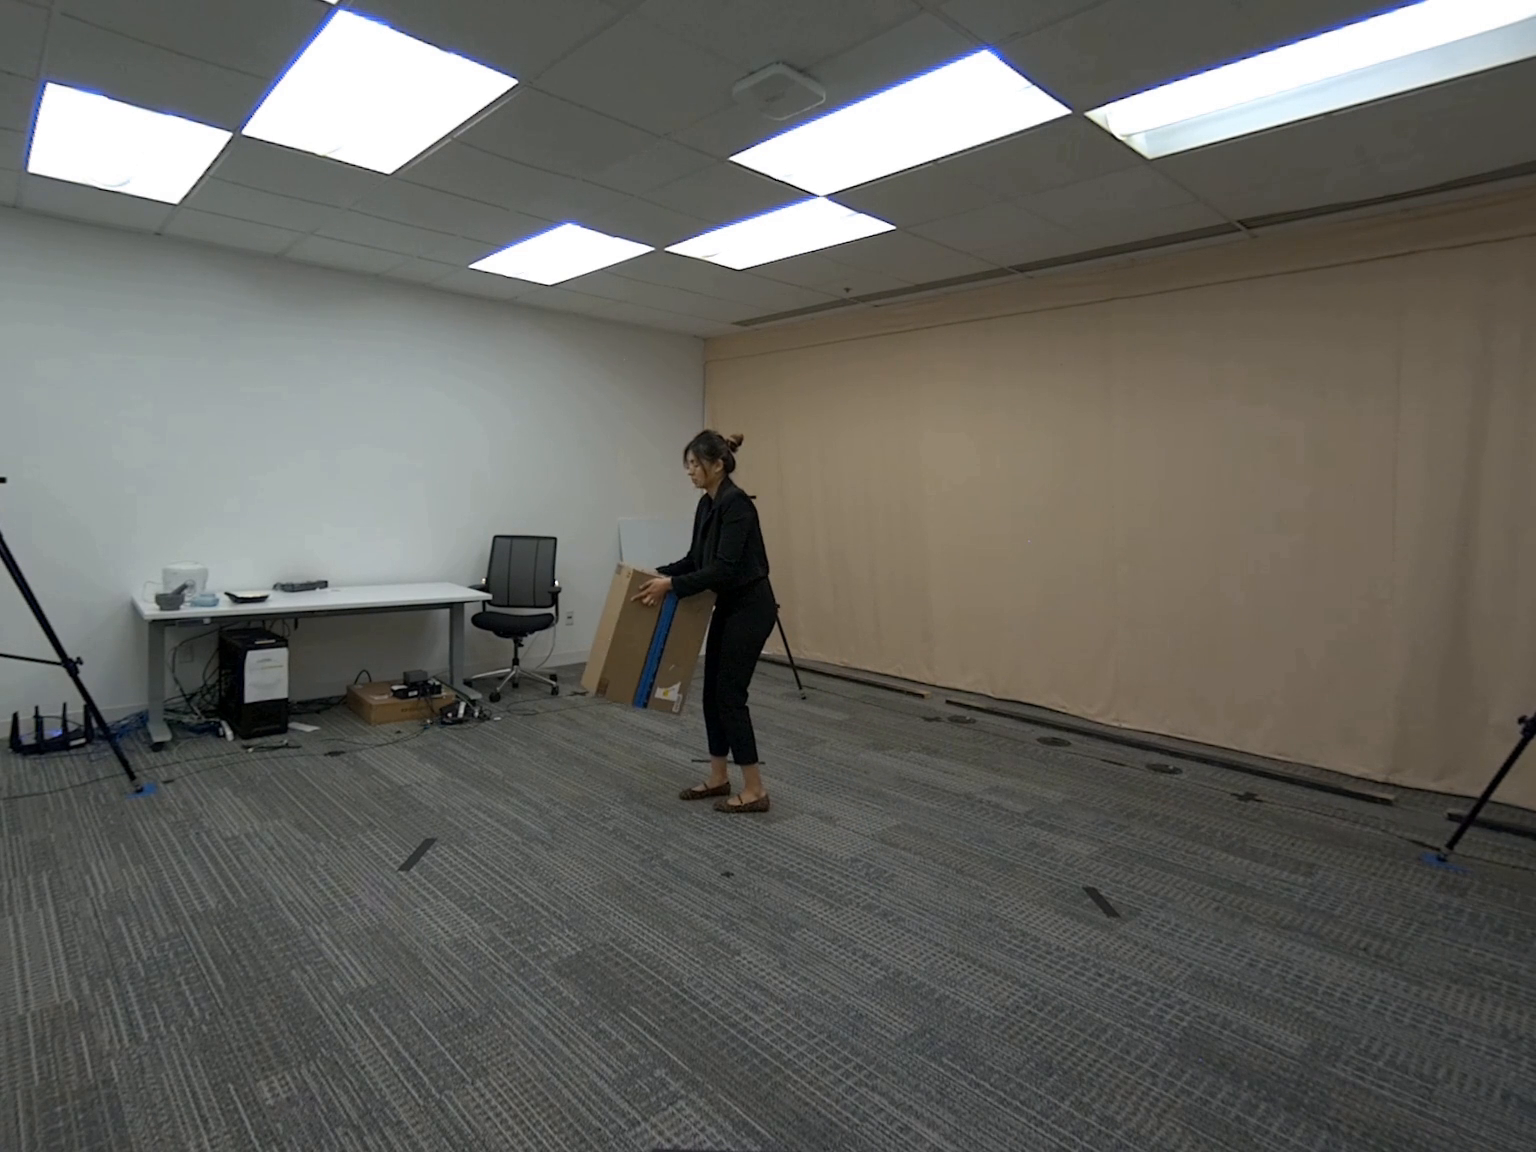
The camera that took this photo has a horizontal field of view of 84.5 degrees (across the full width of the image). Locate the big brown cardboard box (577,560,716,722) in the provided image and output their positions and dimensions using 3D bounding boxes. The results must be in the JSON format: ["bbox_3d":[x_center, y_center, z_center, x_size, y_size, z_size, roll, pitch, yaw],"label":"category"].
[{"bbox_3d":[-0.523,0.283,3.700,0.407,0.589,0.239,17,0,-28],"label":"big brown cardboard box"}]
